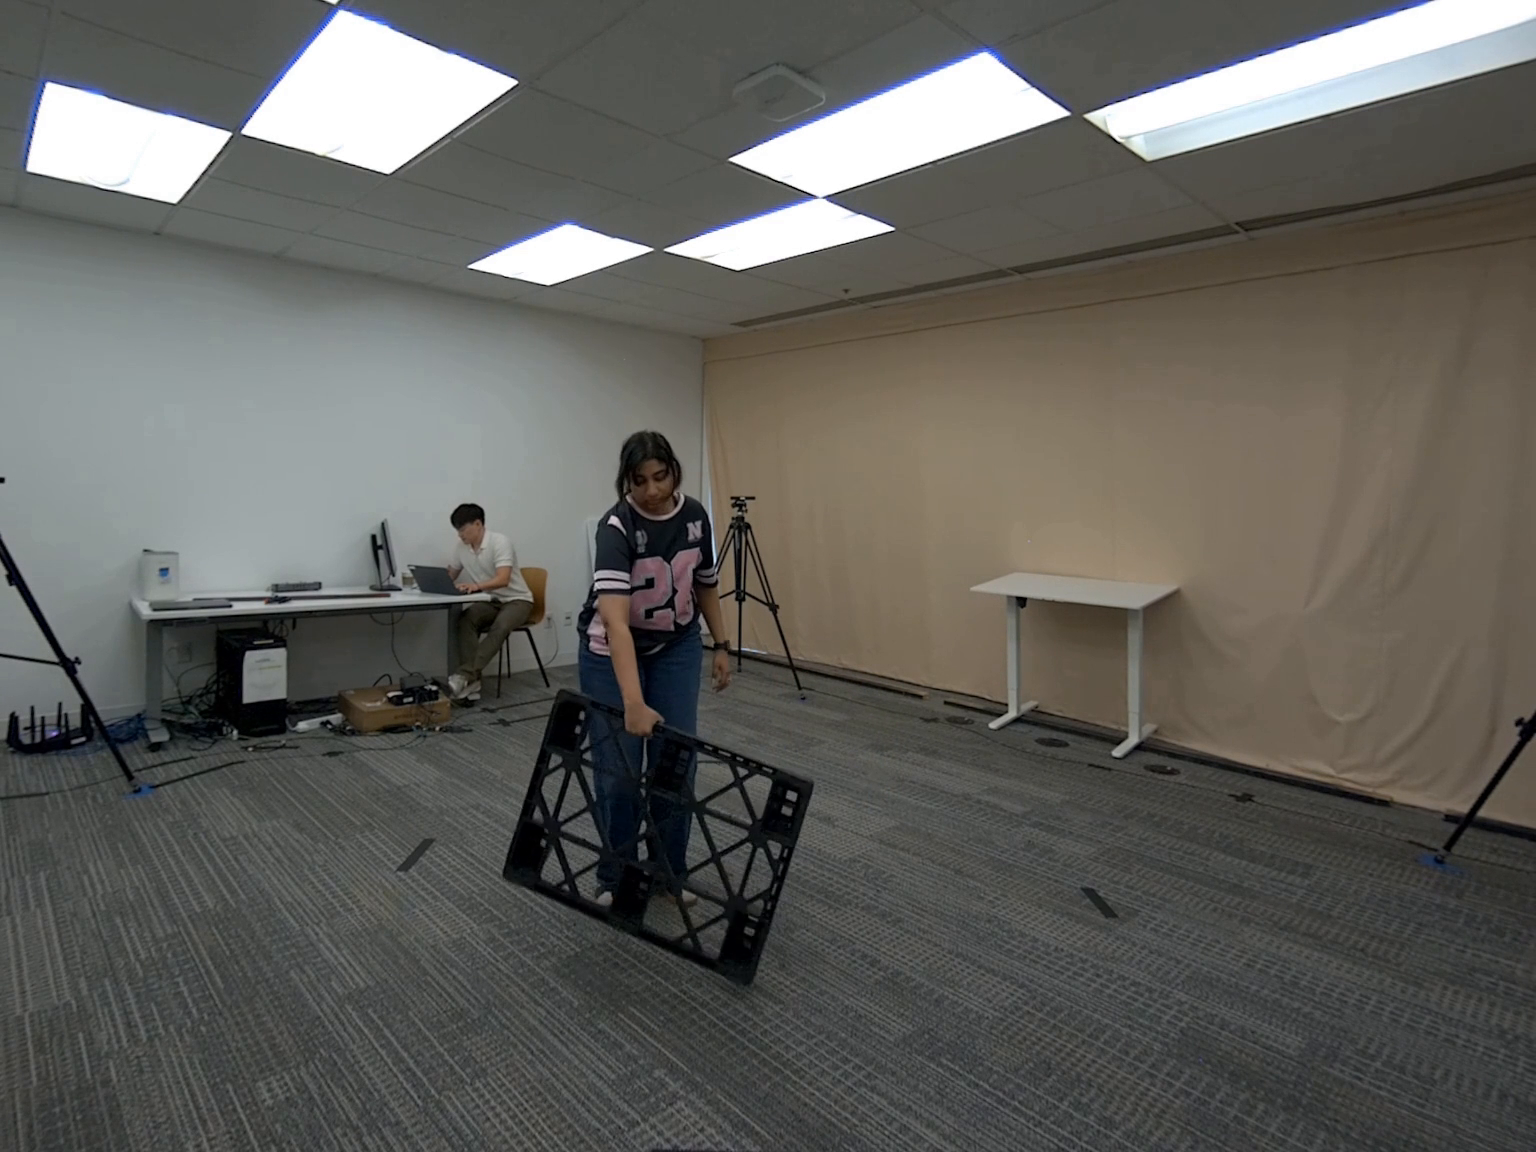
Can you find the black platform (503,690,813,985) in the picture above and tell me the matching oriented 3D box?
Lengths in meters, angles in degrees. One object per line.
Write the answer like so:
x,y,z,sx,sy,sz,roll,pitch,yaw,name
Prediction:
-0.335,0.744,2.474,0.814,0.605,0.142,18,1,11,black platform
